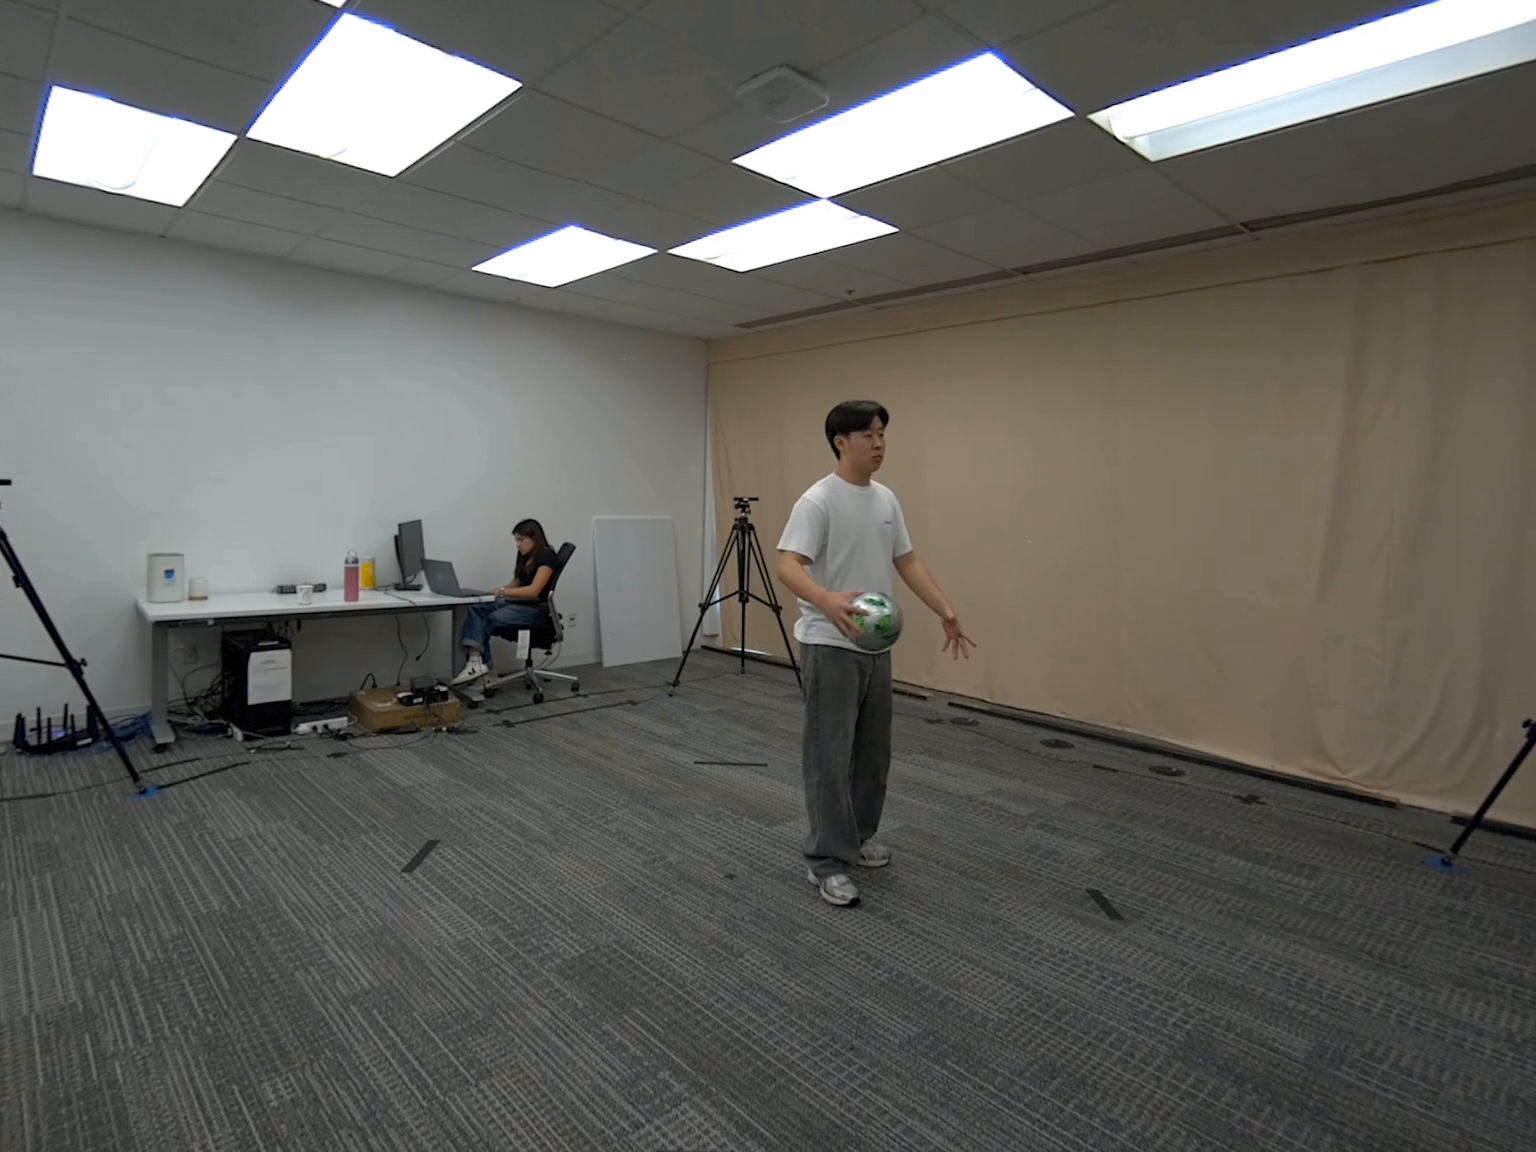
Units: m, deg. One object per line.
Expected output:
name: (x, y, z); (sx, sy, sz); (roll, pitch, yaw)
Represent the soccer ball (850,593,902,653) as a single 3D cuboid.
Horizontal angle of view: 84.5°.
soccer ball: (0.336, 0.145, 2.894); (0.187, 0.187, 0.188); (1, 4, -1)
